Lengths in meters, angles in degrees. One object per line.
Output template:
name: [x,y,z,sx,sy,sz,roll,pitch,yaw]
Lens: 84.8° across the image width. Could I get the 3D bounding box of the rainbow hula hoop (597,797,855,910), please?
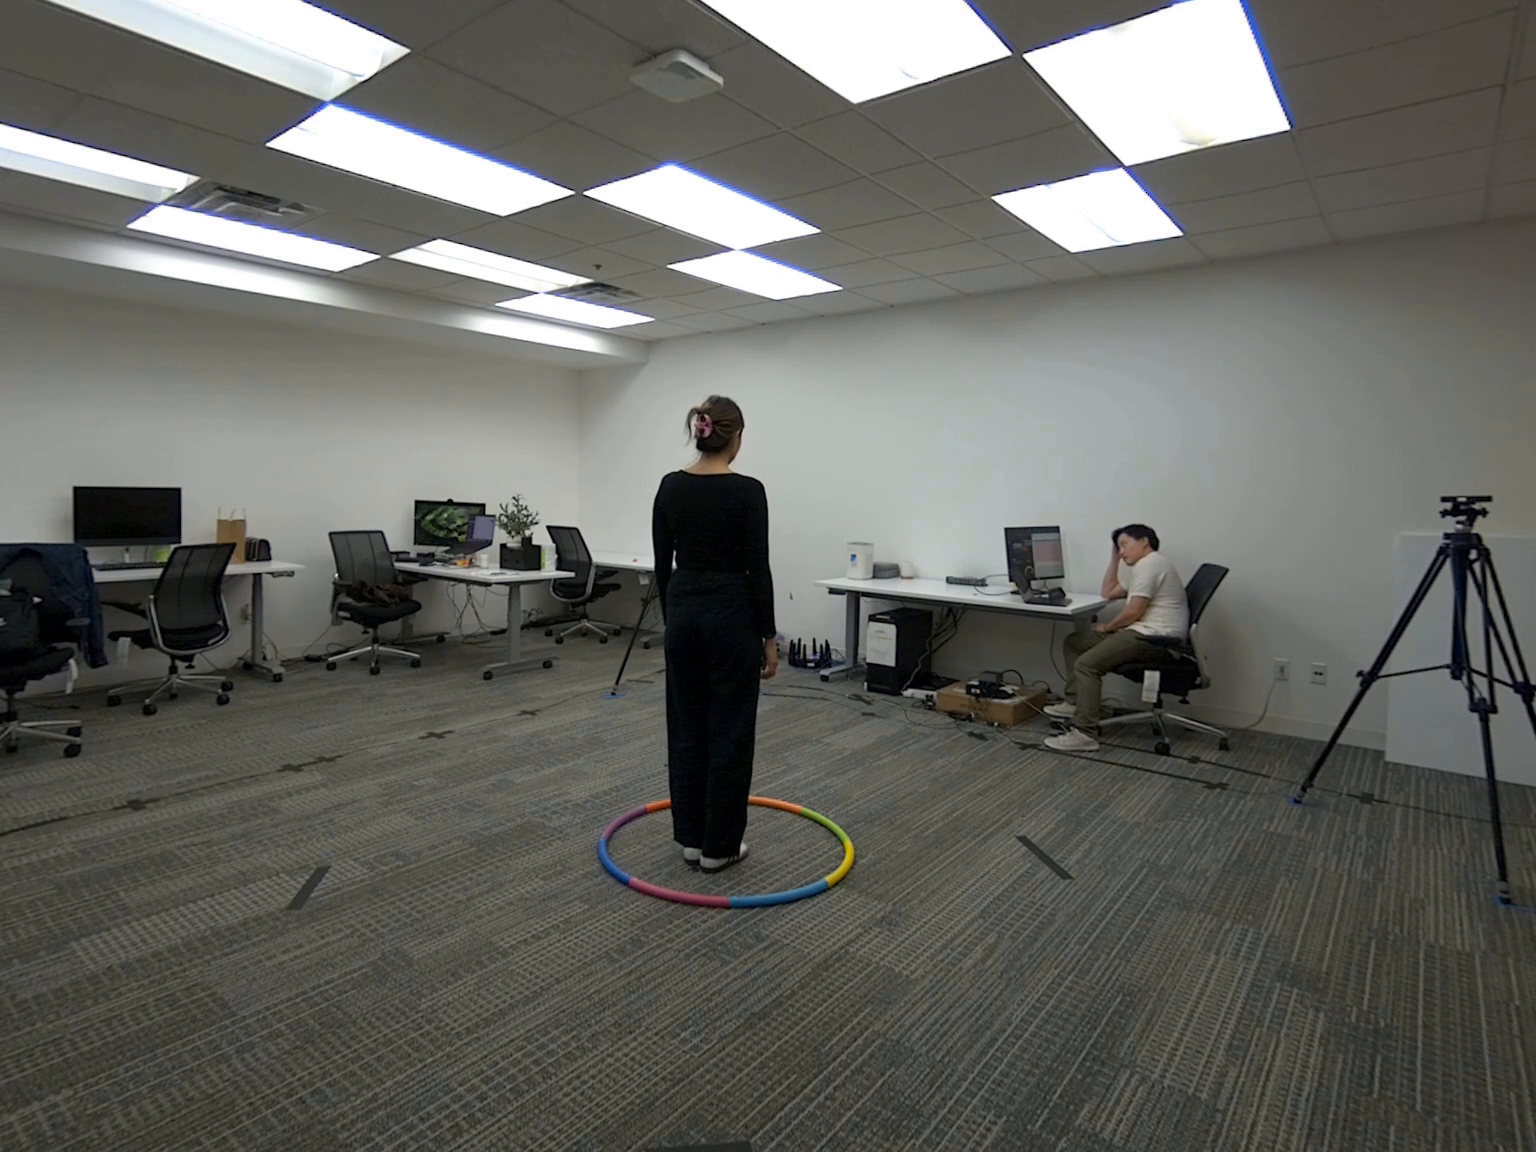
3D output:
rainbow hula hoop: [-0.171,1.021,3.294,0.978,0.035,0.984,1,6,-2]
